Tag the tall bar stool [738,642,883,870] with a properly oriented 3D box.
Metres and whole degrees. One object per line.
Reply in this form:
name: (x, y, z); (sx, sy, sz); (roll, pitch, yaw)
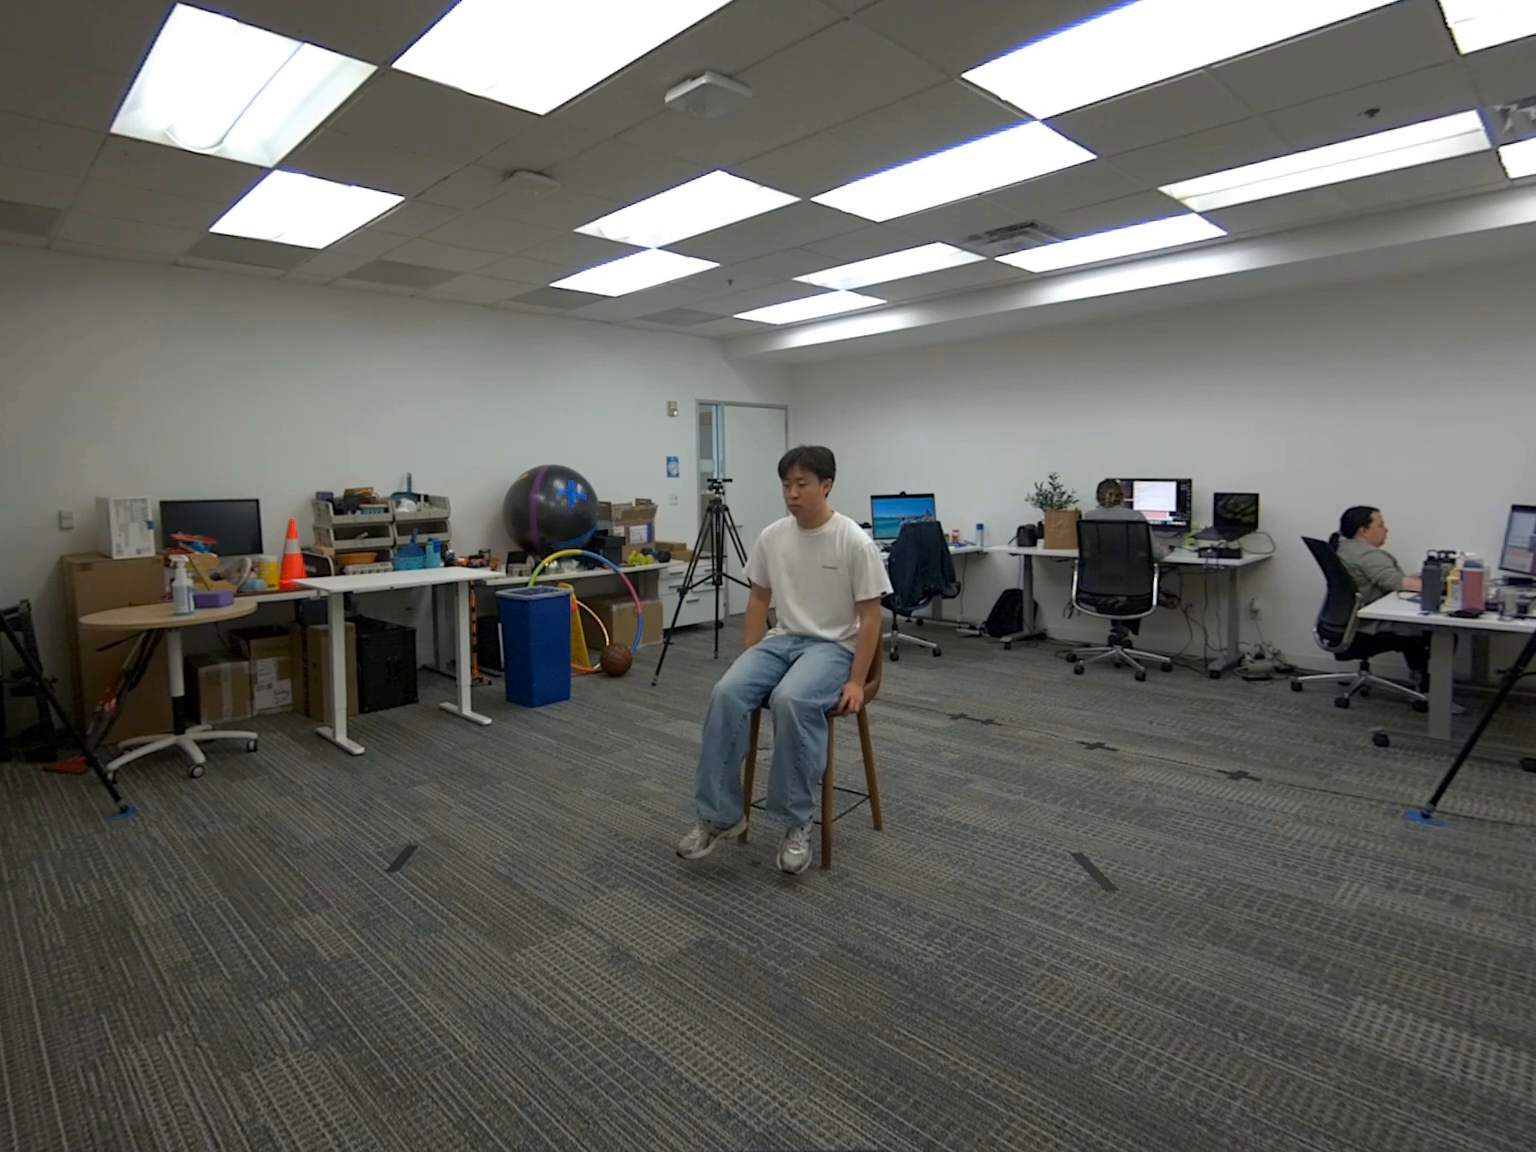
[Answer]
tall bar stool: (0.186, 0.582, 3.326); (0.470, 0.888, 0.455); (4, 3, 37)
